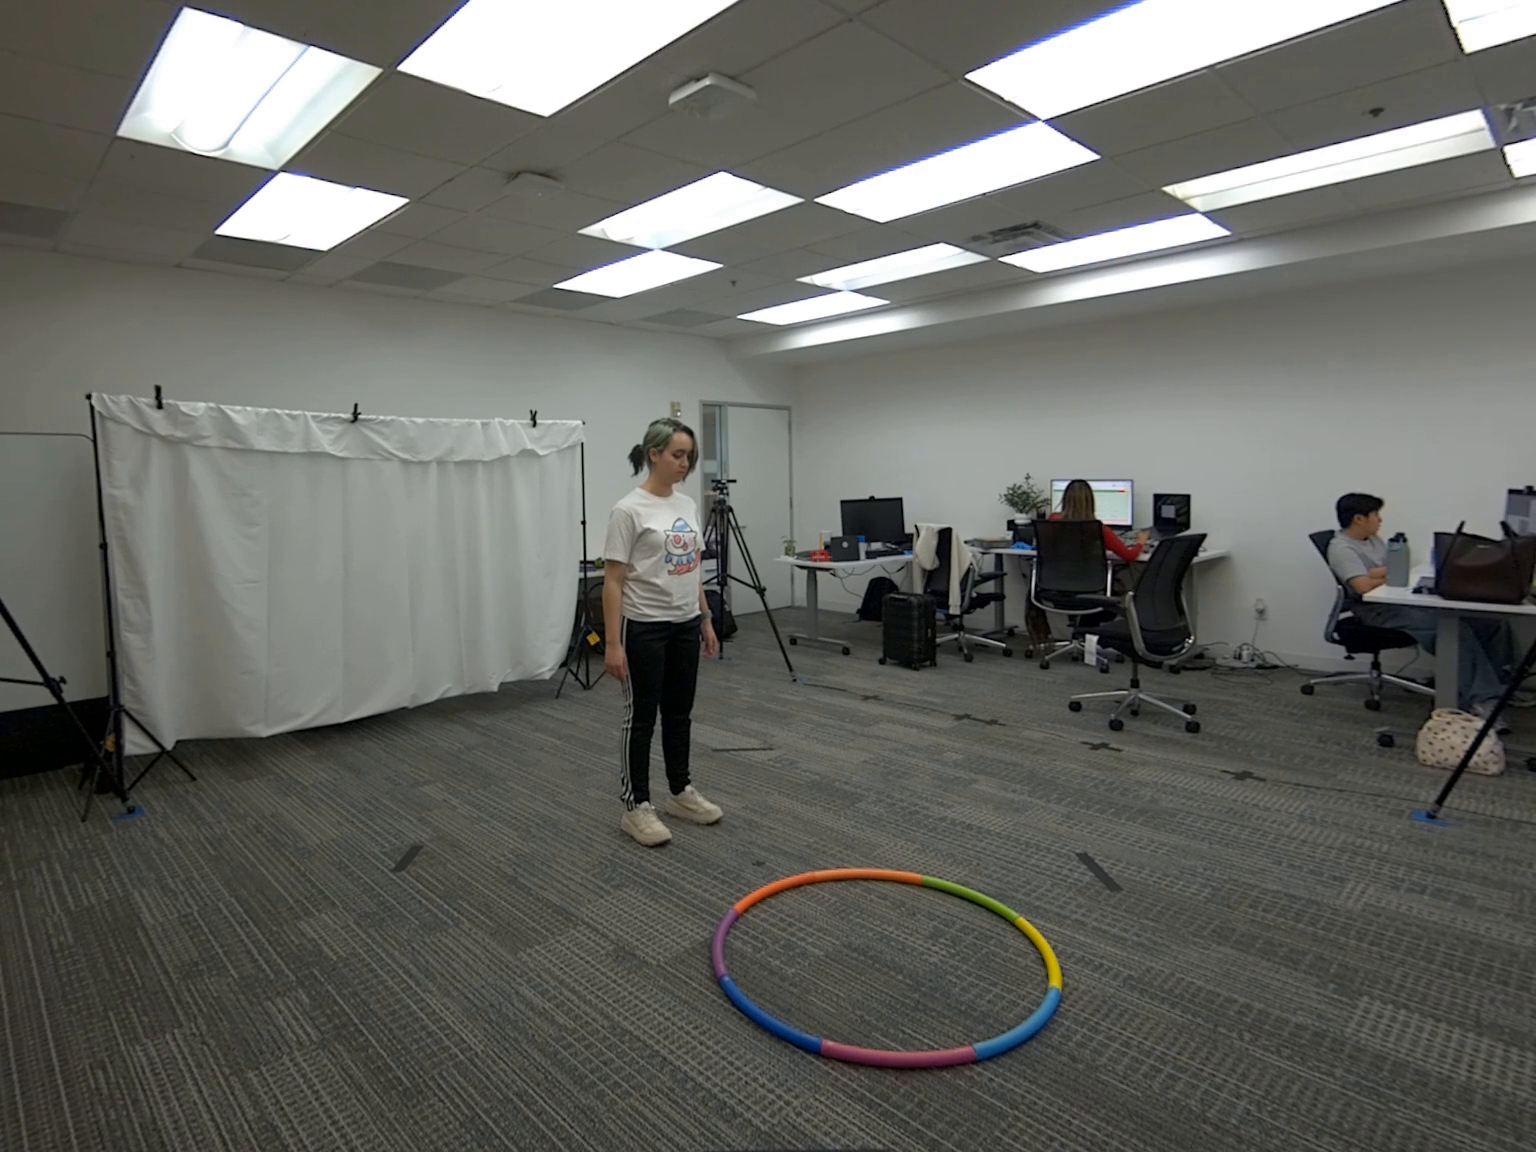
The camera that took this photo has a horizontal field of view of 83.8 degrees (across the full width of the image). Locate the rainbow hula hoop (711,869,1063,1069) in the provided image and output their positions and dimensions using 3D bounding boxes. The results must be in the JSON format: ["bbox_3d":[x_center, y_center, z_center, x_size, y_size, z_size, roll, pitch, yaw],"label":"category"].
[{"bbox_3d":[0.328,1.079,2.504,0.978,0.035,0.984,-2,6,-2],"label":"rainbow hula hoop"}]
